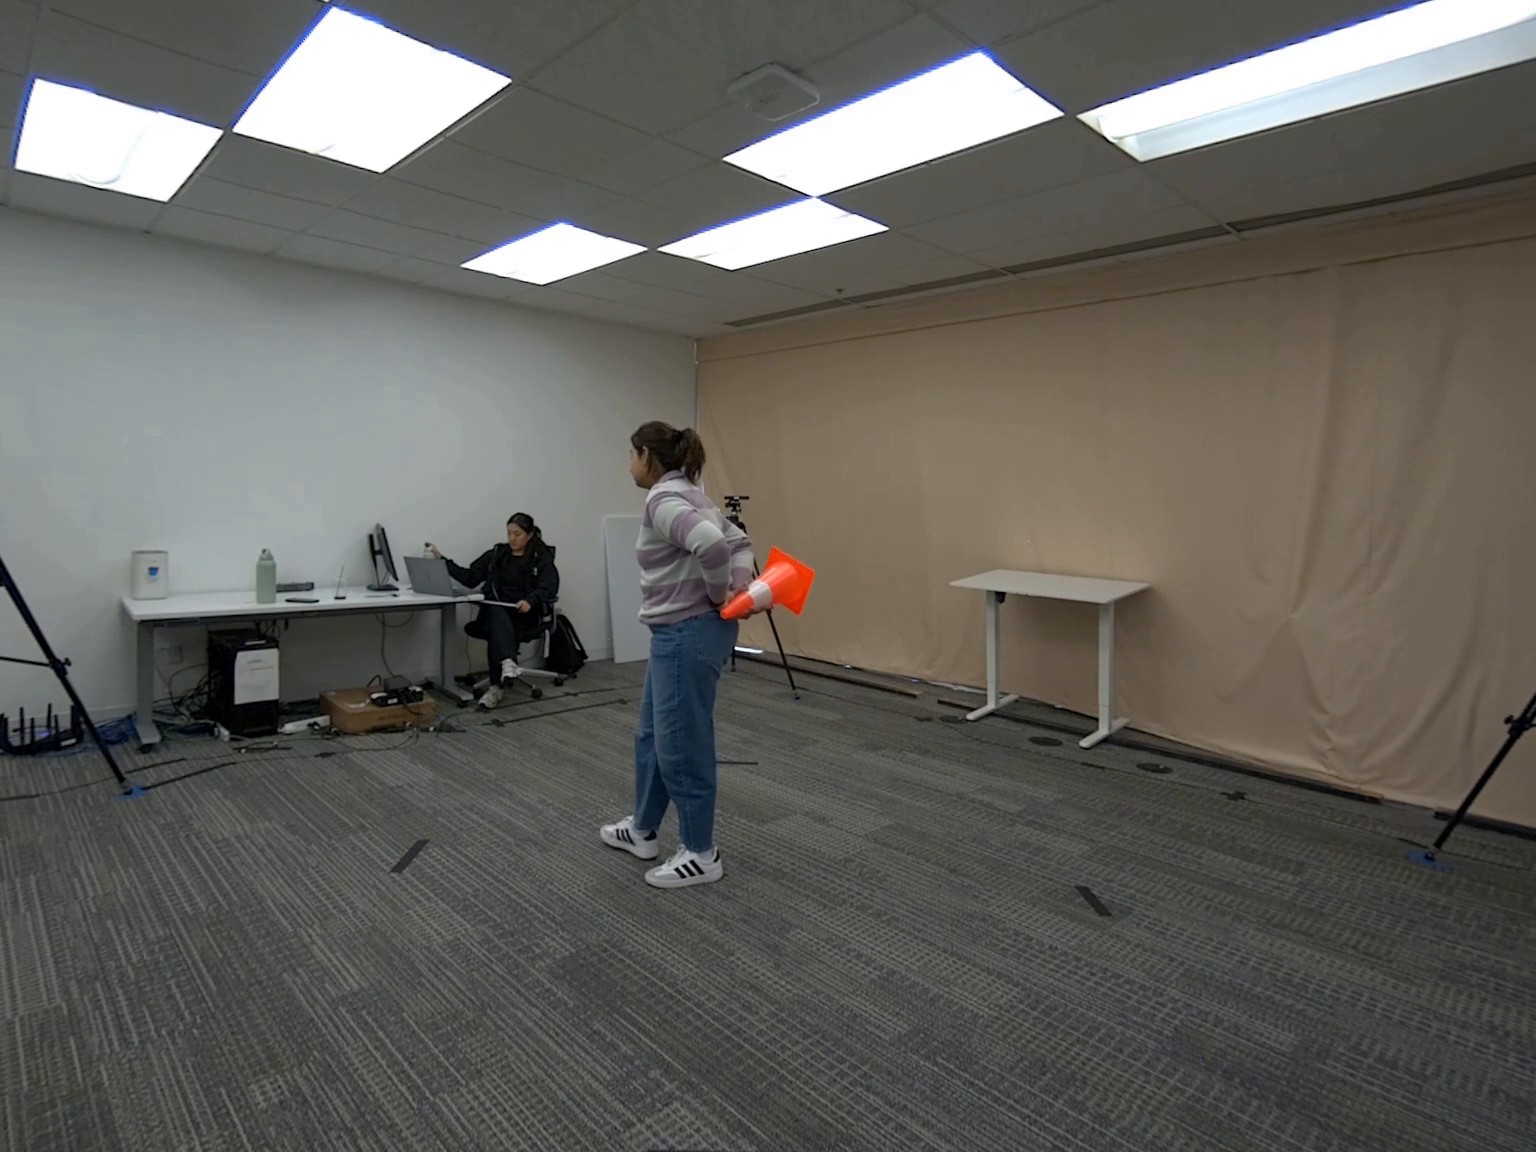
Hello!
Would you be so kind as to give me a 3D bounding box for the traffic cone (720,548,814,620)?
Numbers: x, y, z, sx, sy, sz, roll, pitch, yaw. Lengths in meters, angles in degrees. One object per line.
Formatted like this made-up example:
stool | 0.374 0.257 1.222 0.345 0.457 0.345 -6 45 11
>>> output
traffic cone | -0.046 0.073 2.943 0.208 0.202 0.379 32 32 23
